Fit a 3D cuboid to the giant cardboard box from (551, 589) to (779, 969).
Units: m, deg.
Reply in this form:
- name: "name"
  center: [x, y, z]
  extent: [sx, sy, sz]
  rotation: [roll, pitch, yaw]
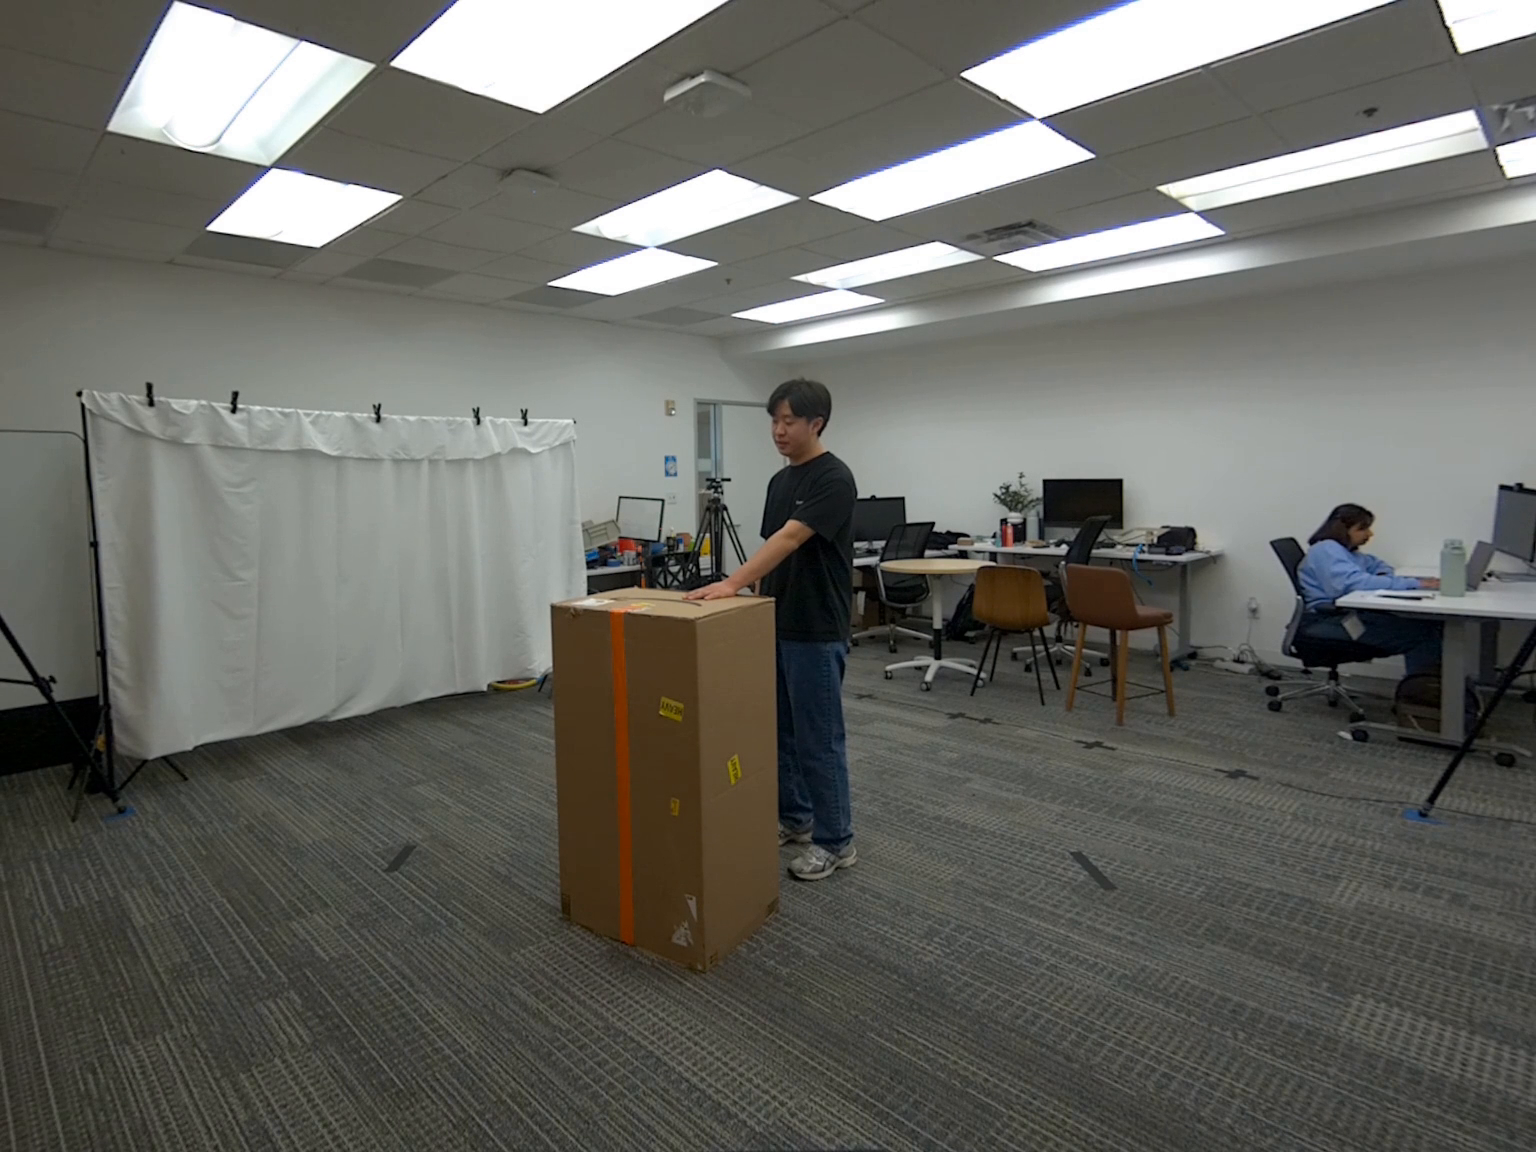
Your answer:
- name: "giant cardboard box"
  center: [-0.323, 0.581, 2.713]
  extent: [0.601, 1.022, 0.436]
  rotation: [2, 6, 35]
